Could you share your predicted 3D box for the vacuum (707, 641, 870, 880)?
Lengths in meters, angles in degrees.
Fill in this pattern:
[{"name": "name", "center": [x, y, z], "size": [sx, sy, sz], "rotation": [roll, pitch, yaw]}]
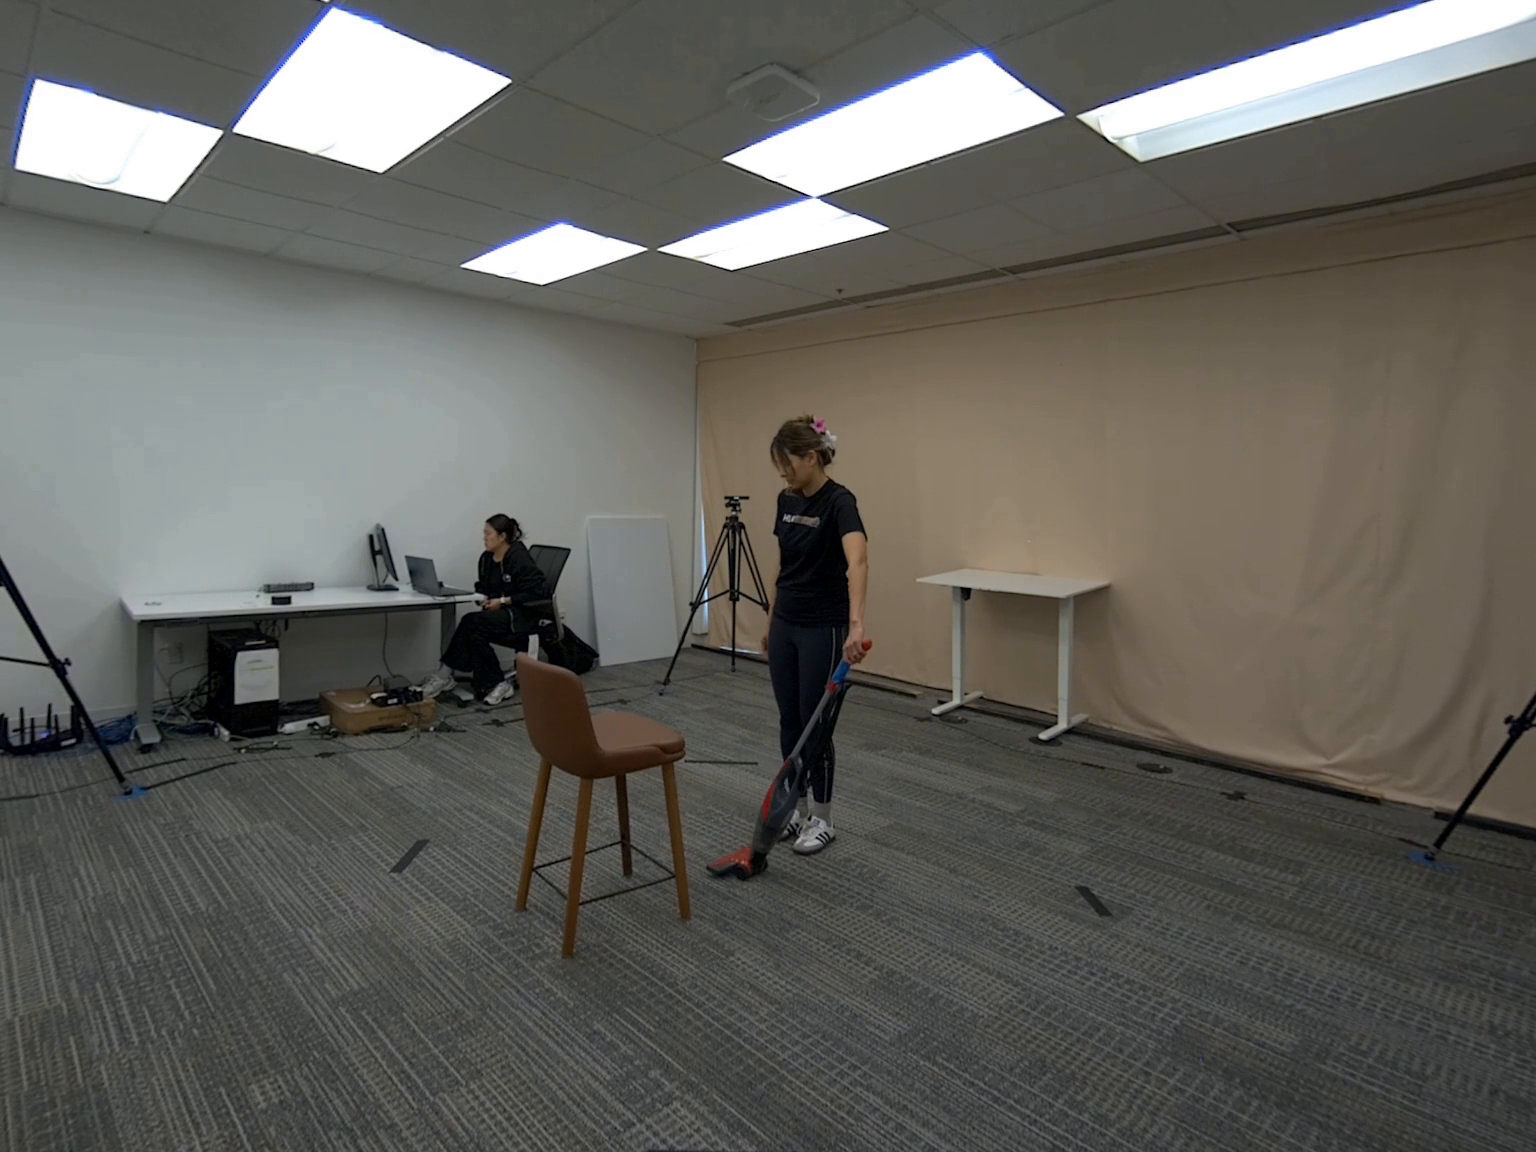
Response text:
[{"name": "vacuum", "center": [0.102, 0.667, 2.951], "size": [0.247, 1.042, 0.148], "rotation": [-2, 37, -49]}]
